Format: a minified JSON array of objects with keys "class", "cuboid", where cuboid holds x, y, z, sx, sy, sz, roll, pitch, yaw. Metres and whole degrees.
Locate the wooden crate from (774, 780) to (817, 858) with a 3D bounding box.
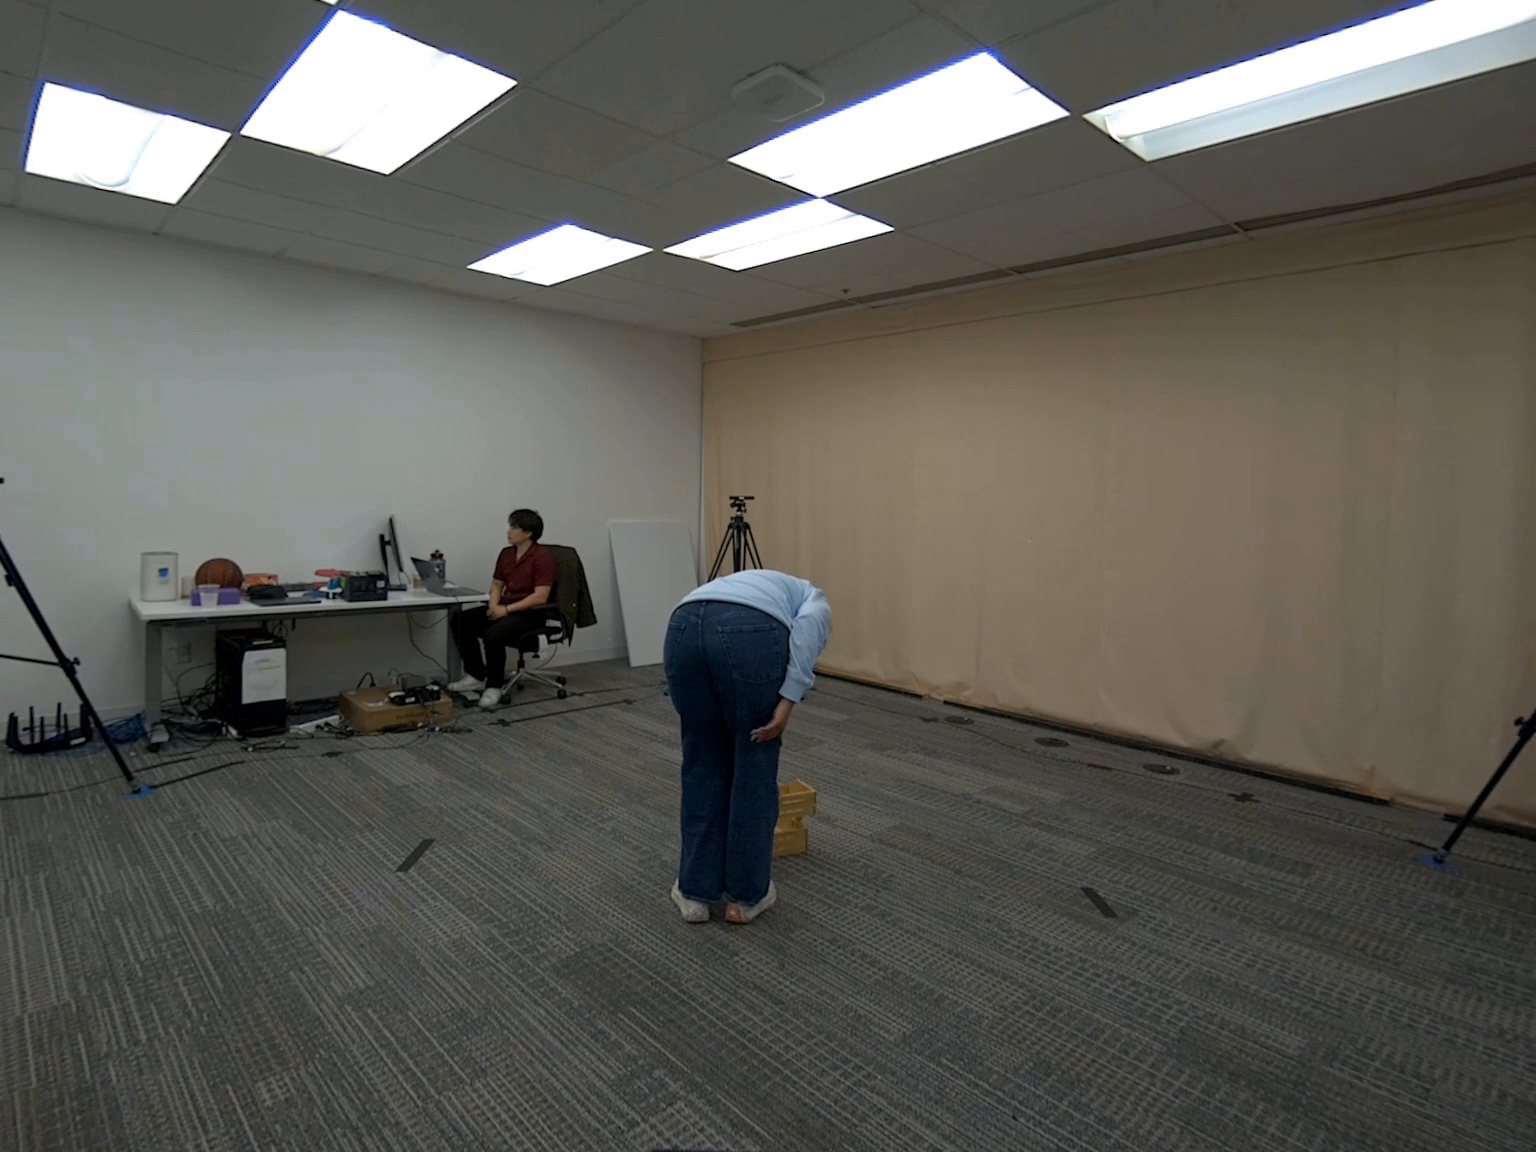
[{"class":"wooden crate","cuboid":[-0.025,0.952,3.355,0.318,0.272,0.309,-1,6,-28]}]
